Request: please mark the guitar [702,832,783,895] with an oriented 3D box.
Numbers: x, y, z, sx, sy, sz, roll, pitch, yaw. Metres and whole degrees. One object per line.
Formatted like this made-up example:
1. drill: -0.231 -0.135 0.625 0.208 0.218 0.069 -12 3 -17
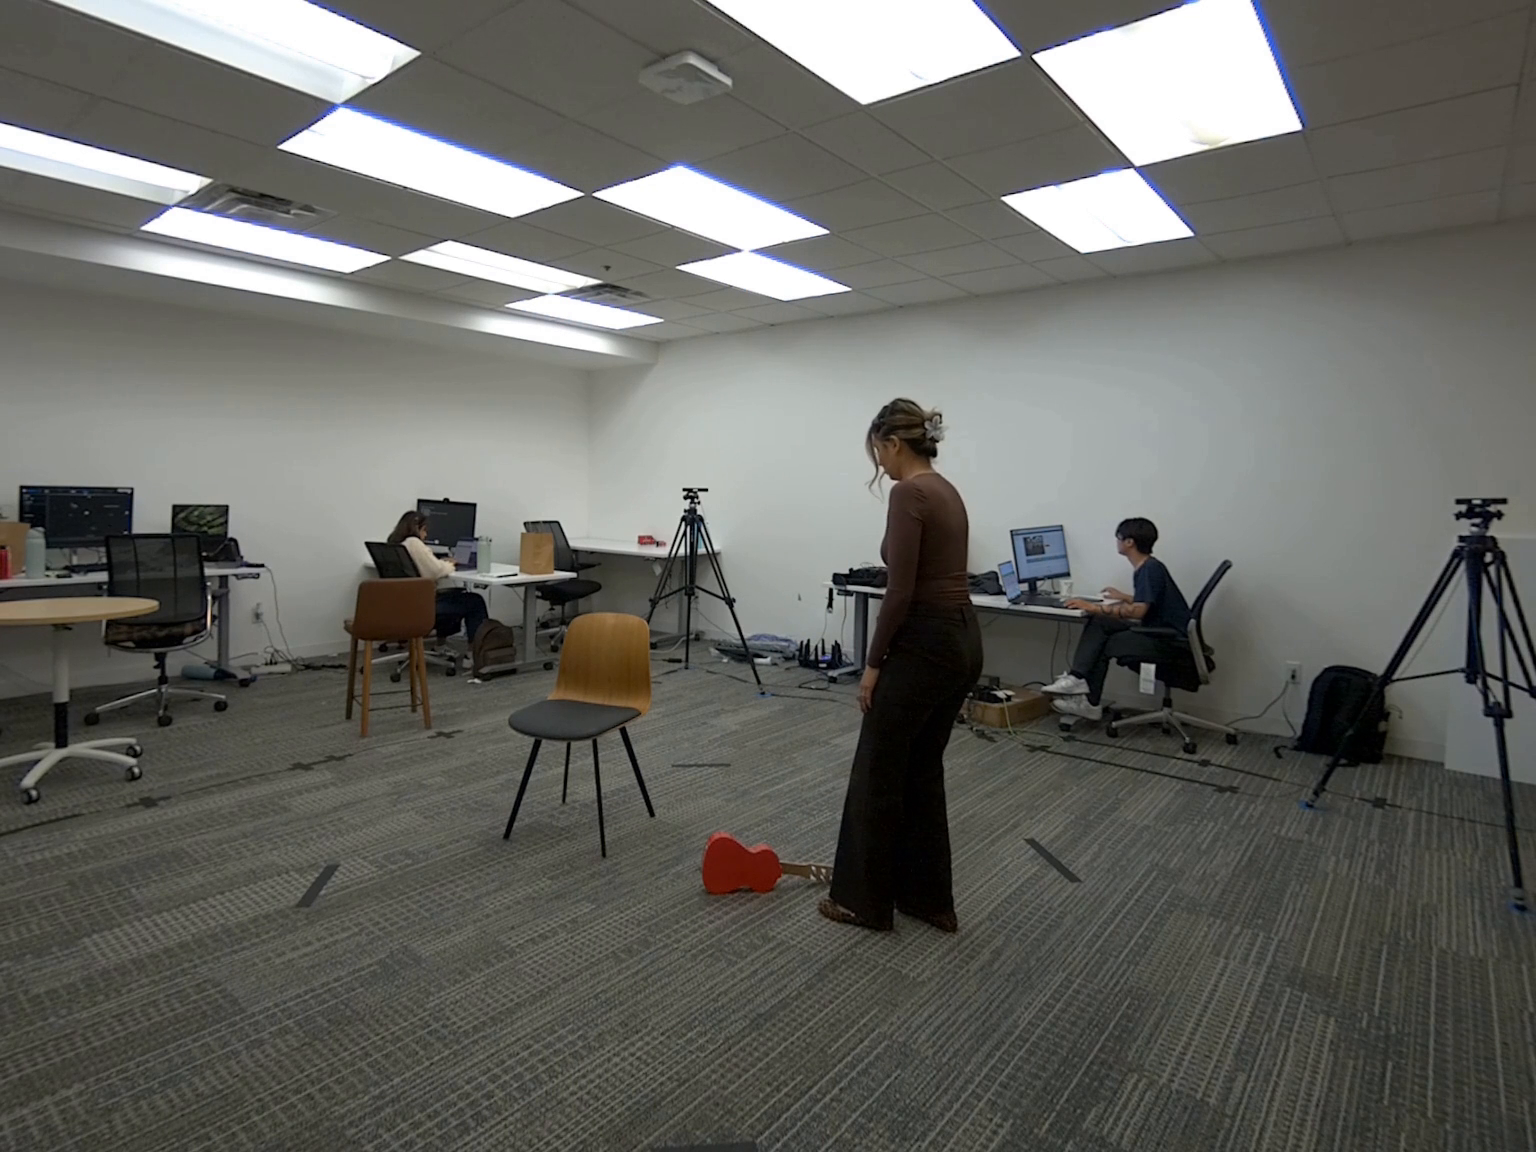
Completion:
1. guitar: 0.010 0.995 2.978 0.492 0.193 0.071 1 -1 -10
